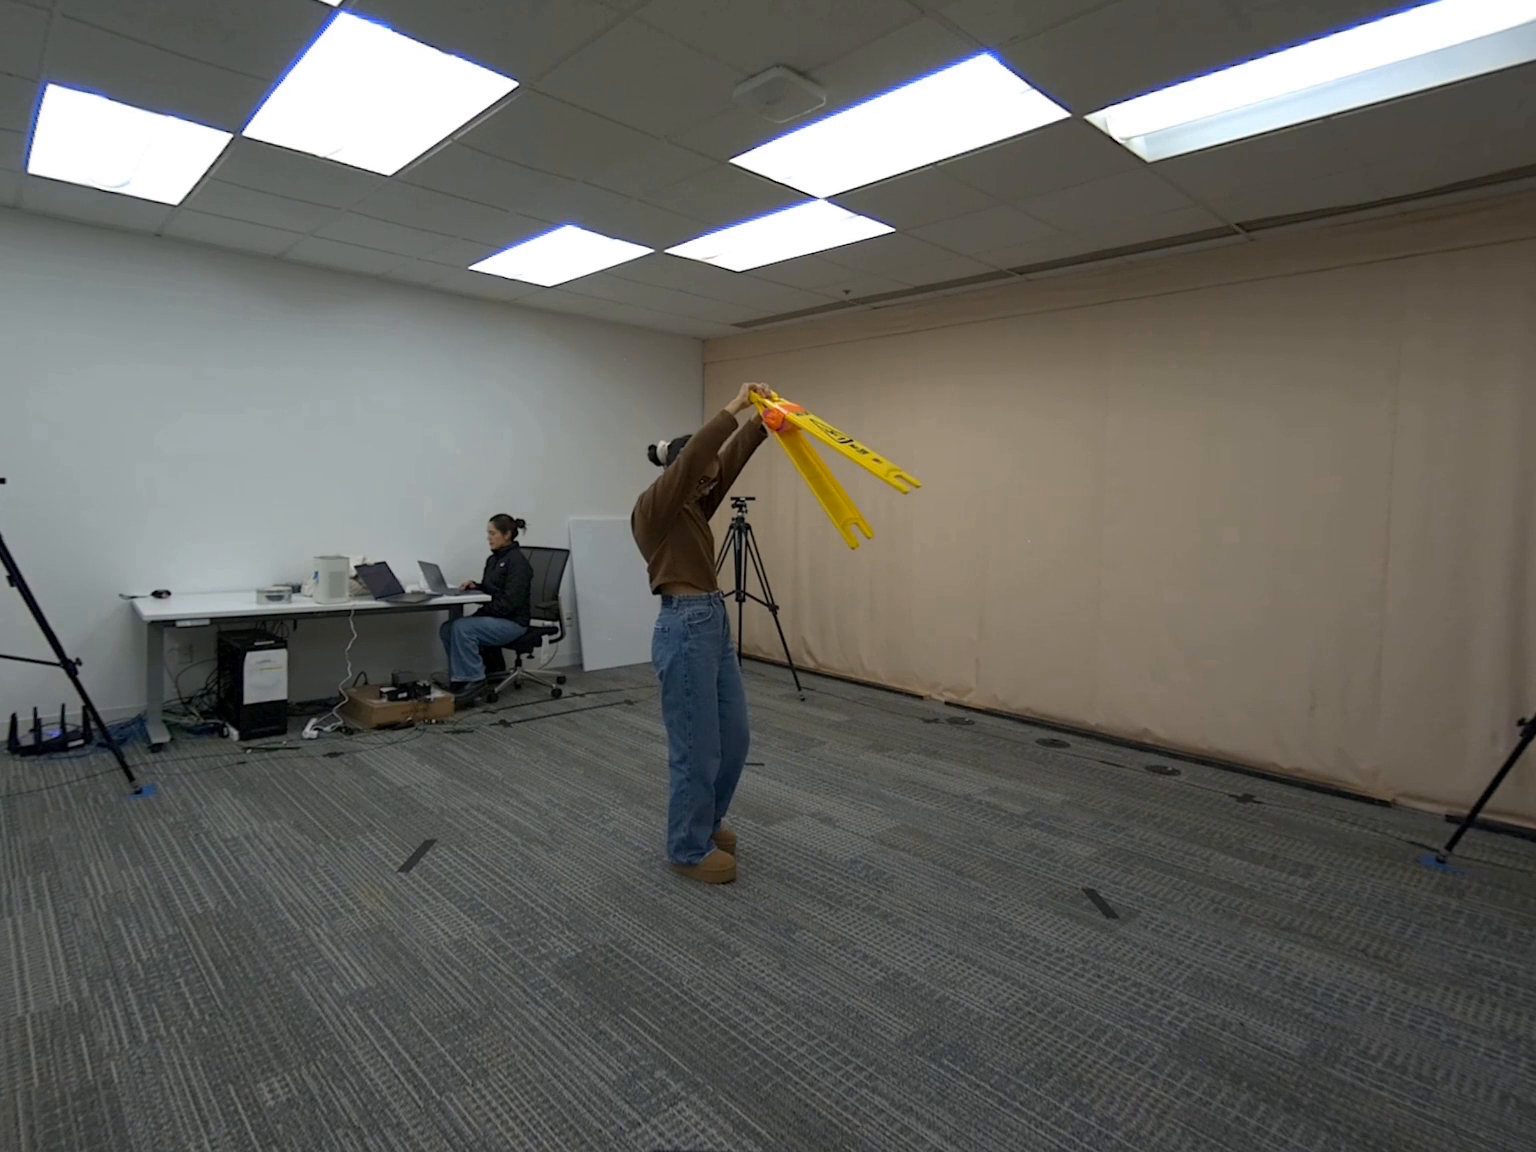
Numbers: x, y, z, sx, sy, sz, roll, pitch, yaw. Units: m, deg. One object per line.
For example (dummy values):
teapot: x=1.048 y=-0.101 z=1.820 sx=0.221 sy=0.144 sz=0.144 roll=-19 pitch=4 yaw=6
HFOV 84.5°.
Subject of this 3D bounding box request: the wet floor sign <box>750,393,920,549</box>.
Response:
wet floor sign: x=0.186 y=-0.434 z=2.959 sx=0.652 sy=0.290 sz=0.279 roll=47 pitch=23 yaw=8
